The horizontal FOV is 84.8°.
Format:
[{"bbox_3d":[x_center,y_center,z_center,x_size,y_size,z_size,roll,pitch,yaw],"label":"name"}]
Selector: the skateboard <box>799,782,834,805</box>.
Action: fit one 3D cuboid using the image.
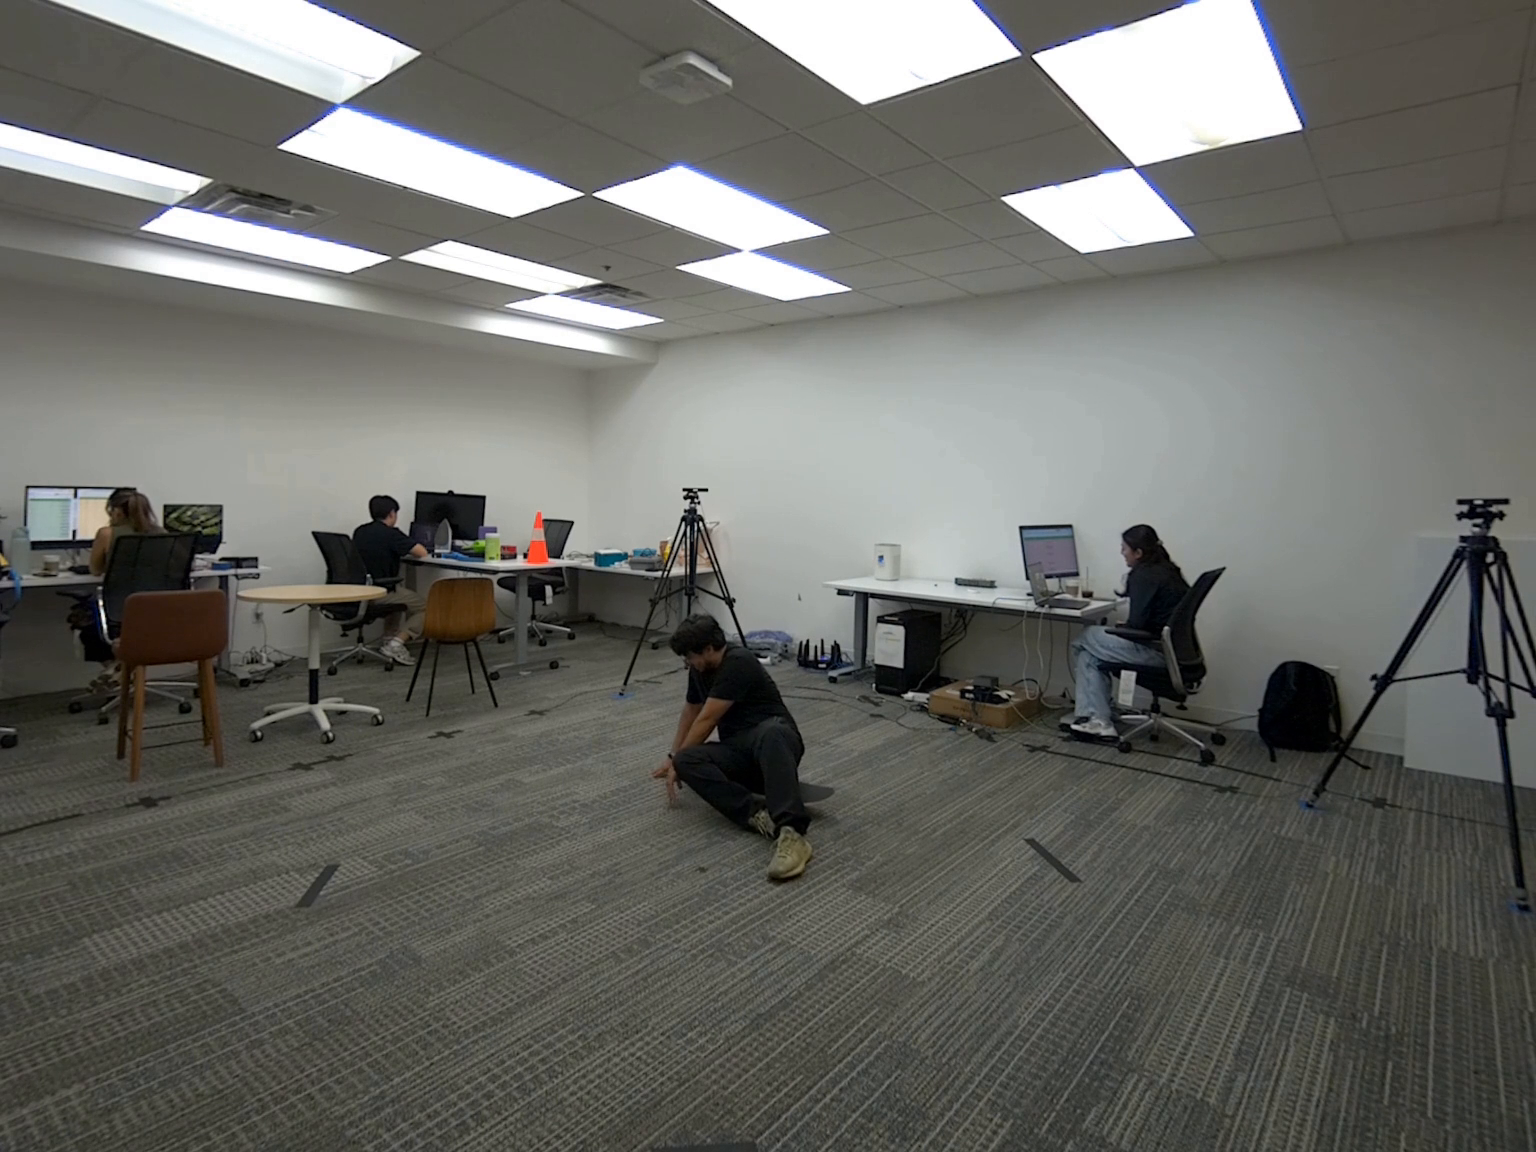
[{"bbox_3d":[-0.064,0.944,3.810,0.810,0.109,0.189,4,13,34],"label":"skateboard"}]
